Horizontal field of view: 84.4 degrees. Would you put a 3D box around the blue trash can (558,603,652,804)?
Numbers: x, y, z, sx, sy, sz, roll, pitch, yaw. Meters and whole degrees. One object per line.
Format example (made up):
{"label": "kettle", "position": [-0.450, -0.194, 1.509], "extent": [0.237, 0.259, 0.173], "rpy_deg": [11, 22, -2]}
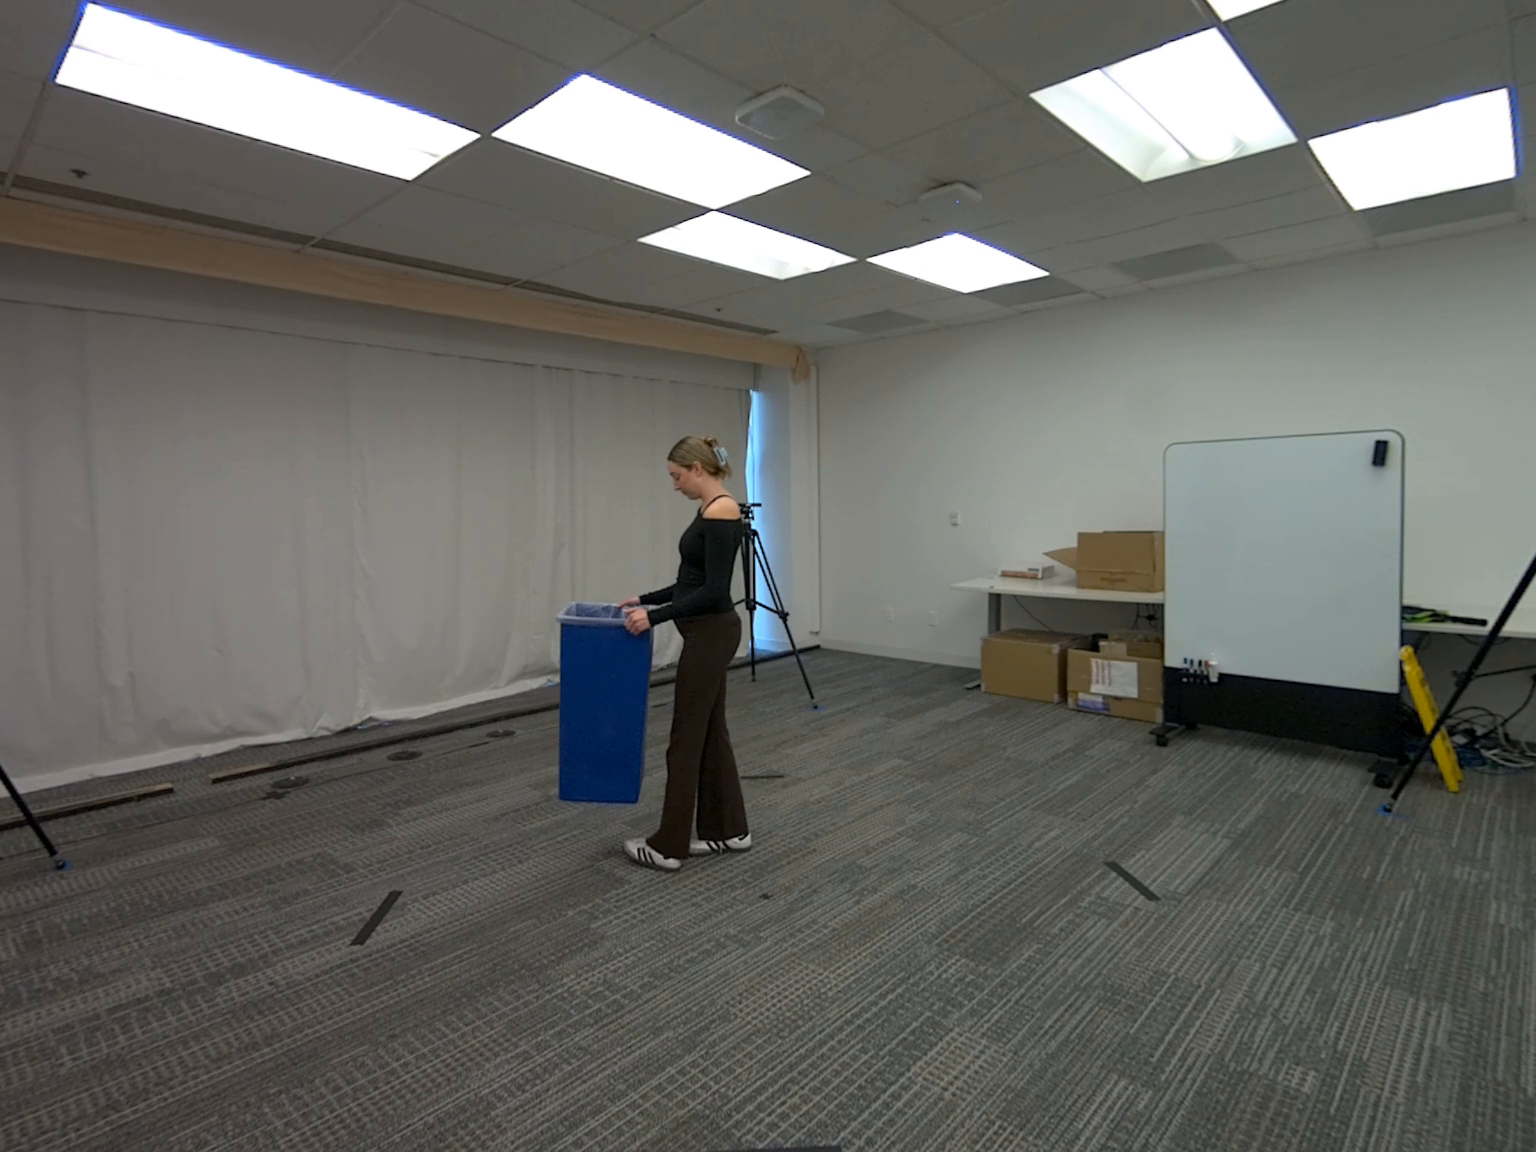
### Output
{"label": "blue trash can", "position": [-0.630, 0.496, 3.303], "extent": [0.377, 0.712, 0.376], "rpy_deg": [3, 4, -4]}
